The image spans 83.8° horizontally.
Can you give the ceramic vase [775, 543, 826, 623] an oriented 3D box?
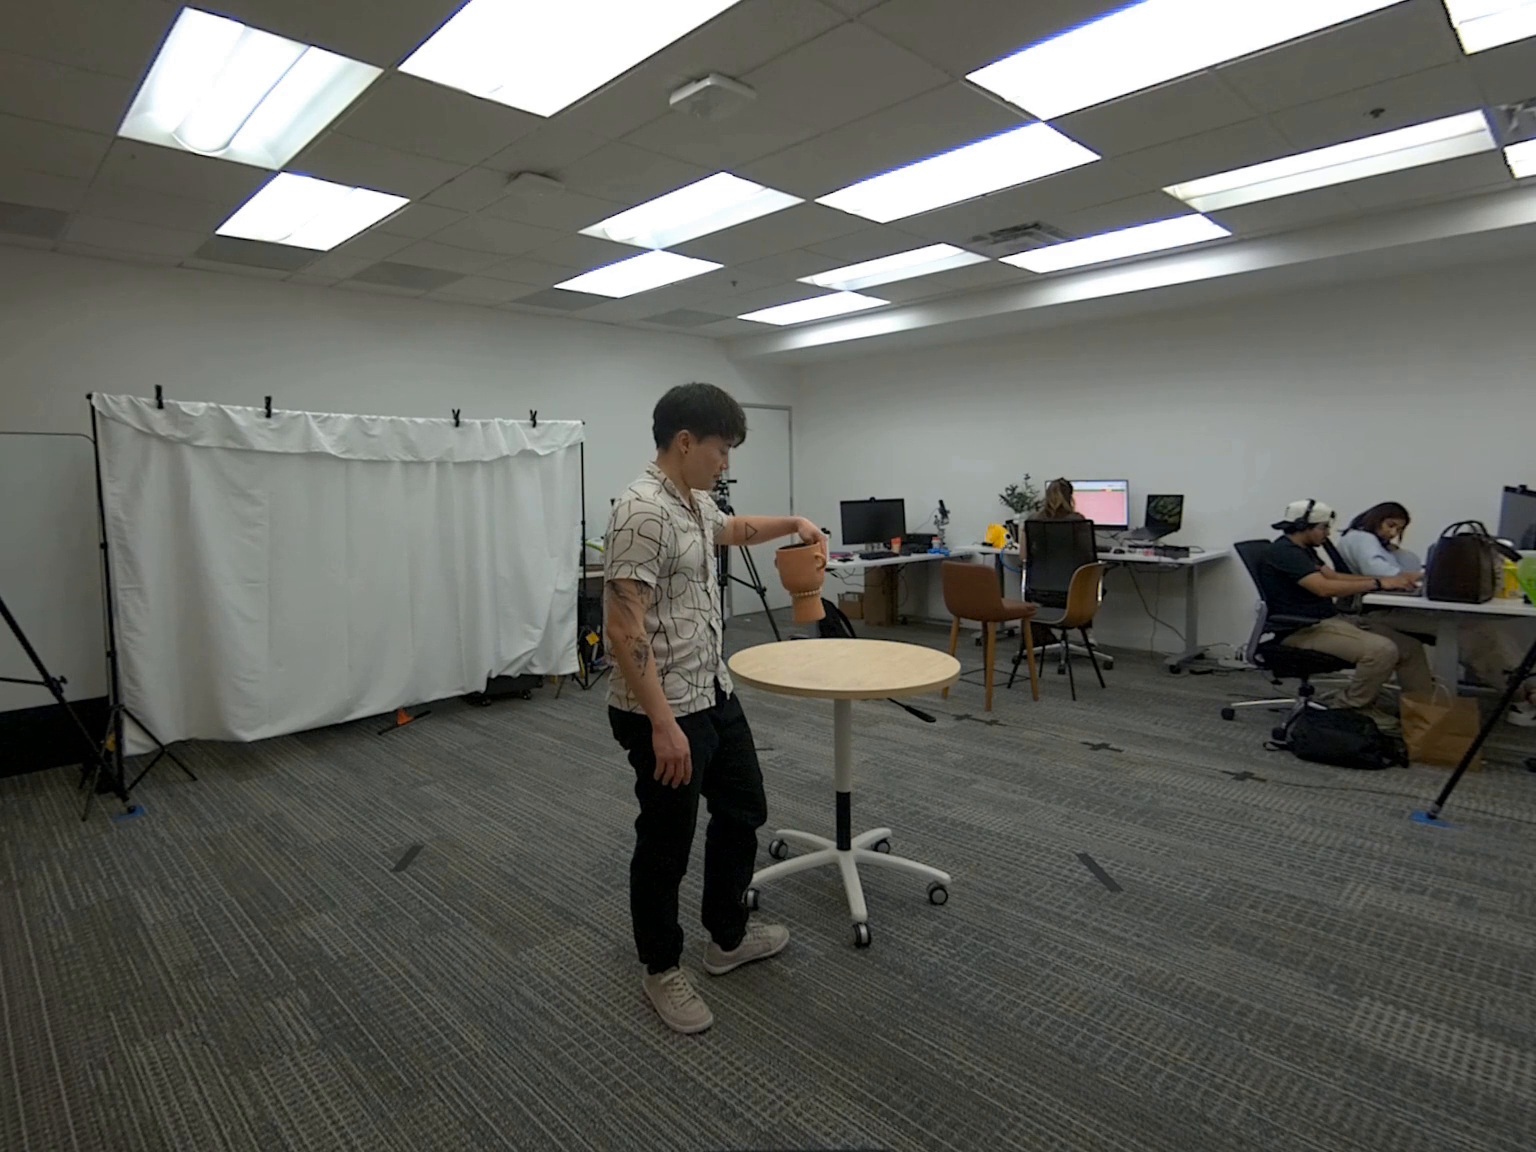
[{"bbox_3d":[0.112,0.019,2.519,0.134,0.218,0.161,-8,6,-8],"label":"ceramic vase"}]
